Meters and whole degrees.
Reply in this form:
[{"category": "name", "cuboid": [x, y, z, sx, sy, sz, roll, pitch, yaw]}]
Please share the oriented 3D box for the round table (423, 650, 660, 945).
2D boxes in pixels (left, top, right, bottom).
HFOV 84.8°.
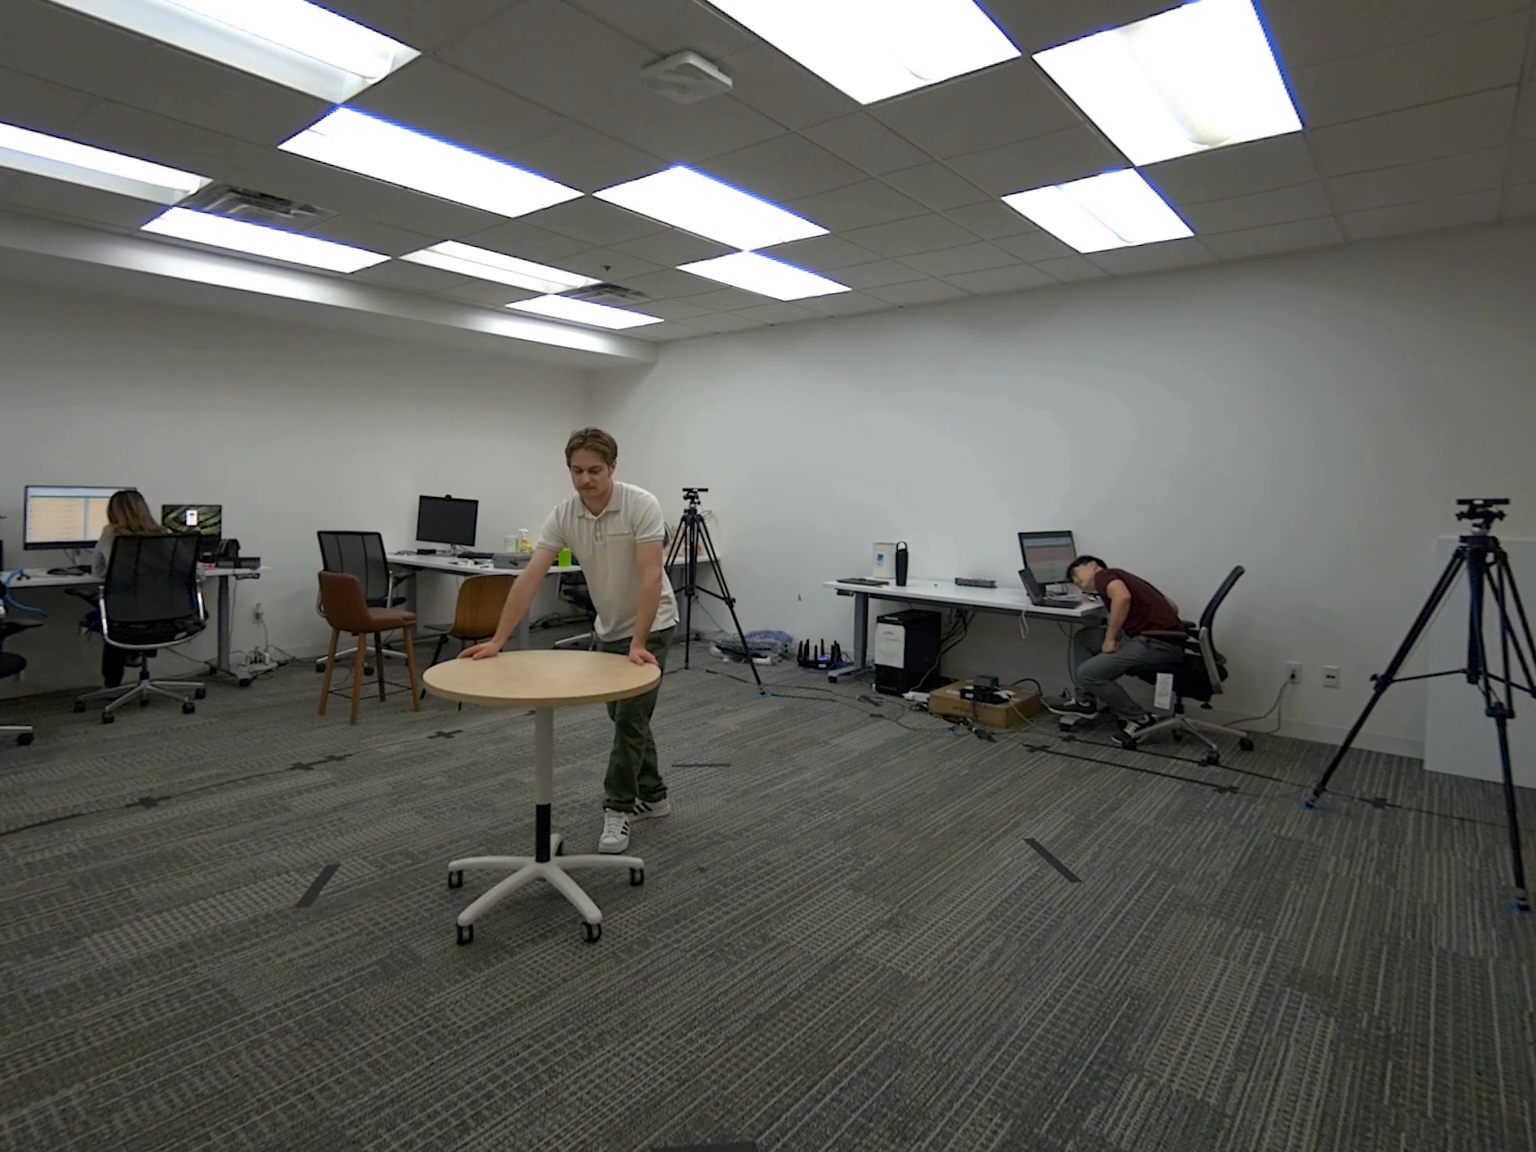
[{"category": "round table", "cuboid": [-0.759, 0.702, 2.826, 0.763, 0.792, 0.767, 1, 4, -2]}]
